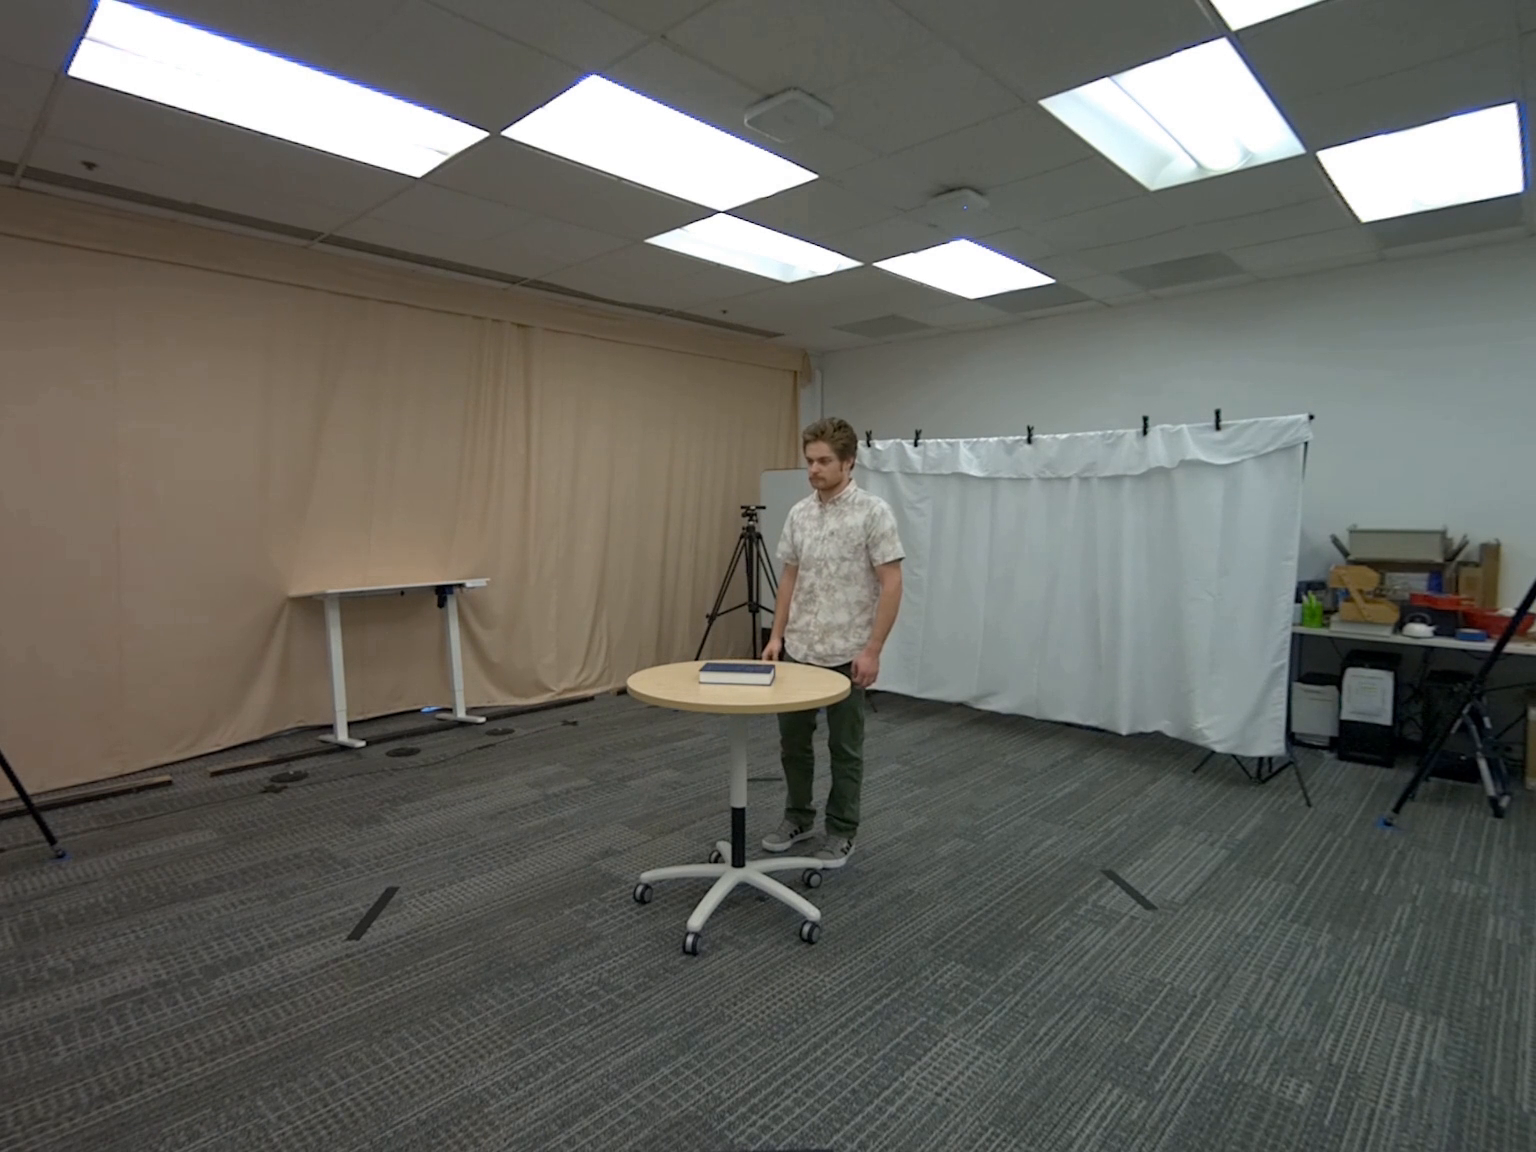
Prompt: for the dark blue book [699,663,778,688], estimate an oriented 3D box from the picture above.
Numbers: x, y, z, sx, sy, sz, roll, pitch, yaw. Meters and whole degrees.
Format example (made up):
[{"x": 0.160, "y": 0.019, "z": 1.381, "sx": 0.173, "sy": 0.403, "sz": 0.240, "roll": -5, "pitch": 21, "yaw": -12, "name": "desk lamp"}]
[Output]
[{"x": -0.099, "y": 0.337, "z": 2.892, "sx": 0.247, "sy": 0.045, "sz": 0.162, "roll": 1, "pitch": 4, "yaw": 8, "name": "dark blue book"}]
